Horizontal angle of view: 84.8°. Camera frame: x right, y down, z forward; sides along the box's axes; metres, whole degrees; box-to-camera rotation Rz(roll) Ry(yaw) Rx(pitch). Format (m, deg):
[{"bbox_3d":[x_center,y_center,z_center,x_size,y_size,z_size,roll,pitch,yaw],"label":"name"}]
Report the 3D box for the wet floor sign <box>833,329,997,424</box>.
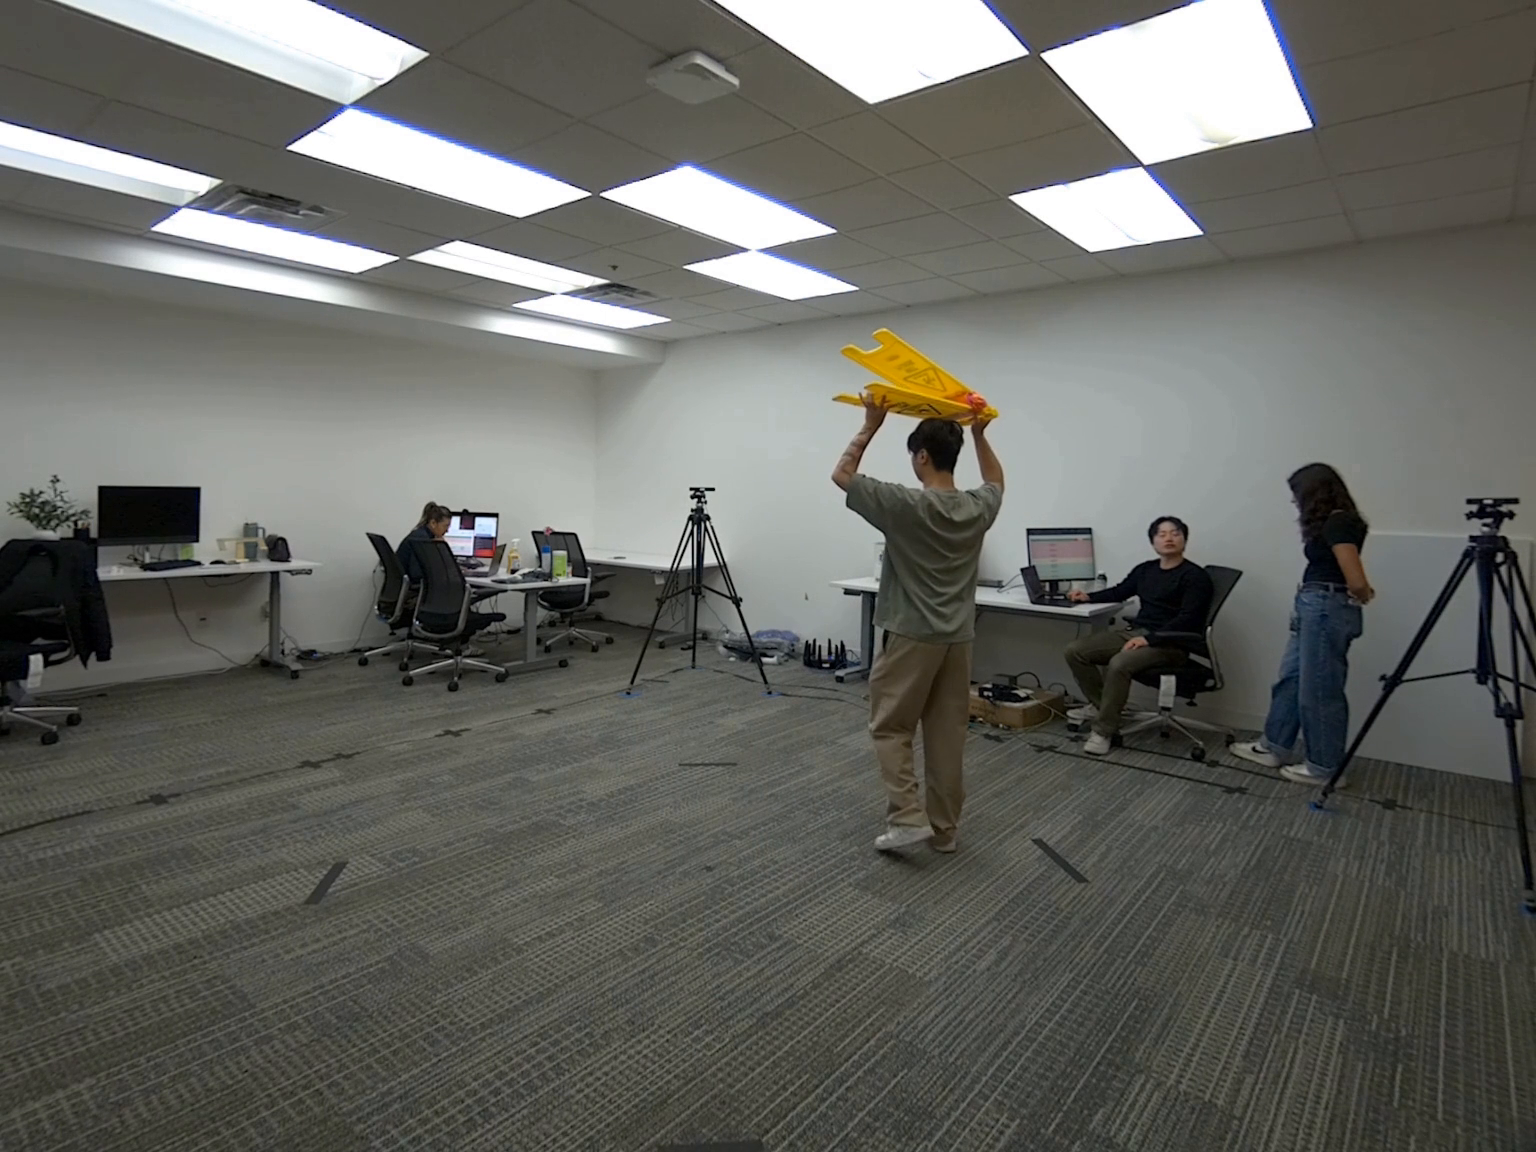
[{"bbox_3d":[0.597,-0.725,3.364,0.626,0.292,0.289,14,-10,-28],"label":"wet floor sign"}]
